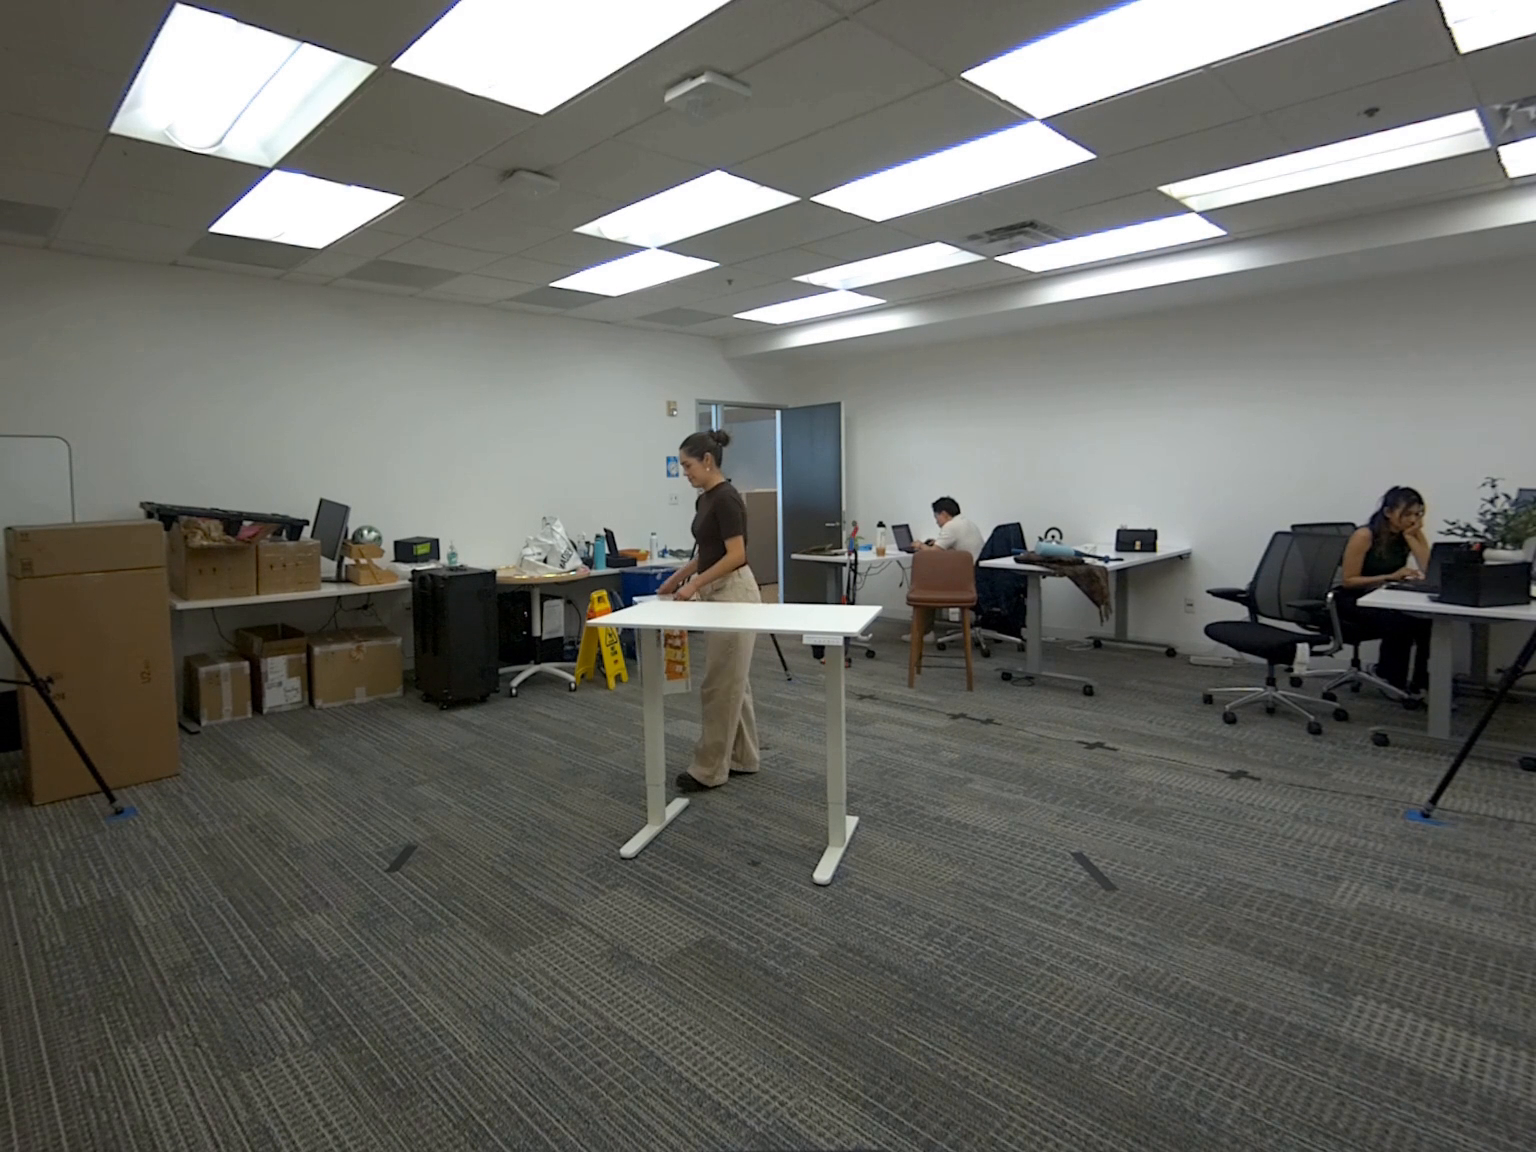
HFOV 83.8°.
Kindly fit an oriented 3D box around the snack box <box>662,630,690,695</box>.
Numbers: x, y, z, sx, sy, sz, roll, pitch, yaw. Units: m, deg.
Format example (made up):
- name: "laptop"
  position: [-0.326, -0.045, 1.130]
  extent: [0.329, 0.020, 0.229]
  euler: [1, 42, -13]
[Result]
- name: "snack box"
  position: [-0.495, 0.312, 3.960]
  extent: [0.203, 0.404, 0.345]
  euler: [-4, 3, -13]
